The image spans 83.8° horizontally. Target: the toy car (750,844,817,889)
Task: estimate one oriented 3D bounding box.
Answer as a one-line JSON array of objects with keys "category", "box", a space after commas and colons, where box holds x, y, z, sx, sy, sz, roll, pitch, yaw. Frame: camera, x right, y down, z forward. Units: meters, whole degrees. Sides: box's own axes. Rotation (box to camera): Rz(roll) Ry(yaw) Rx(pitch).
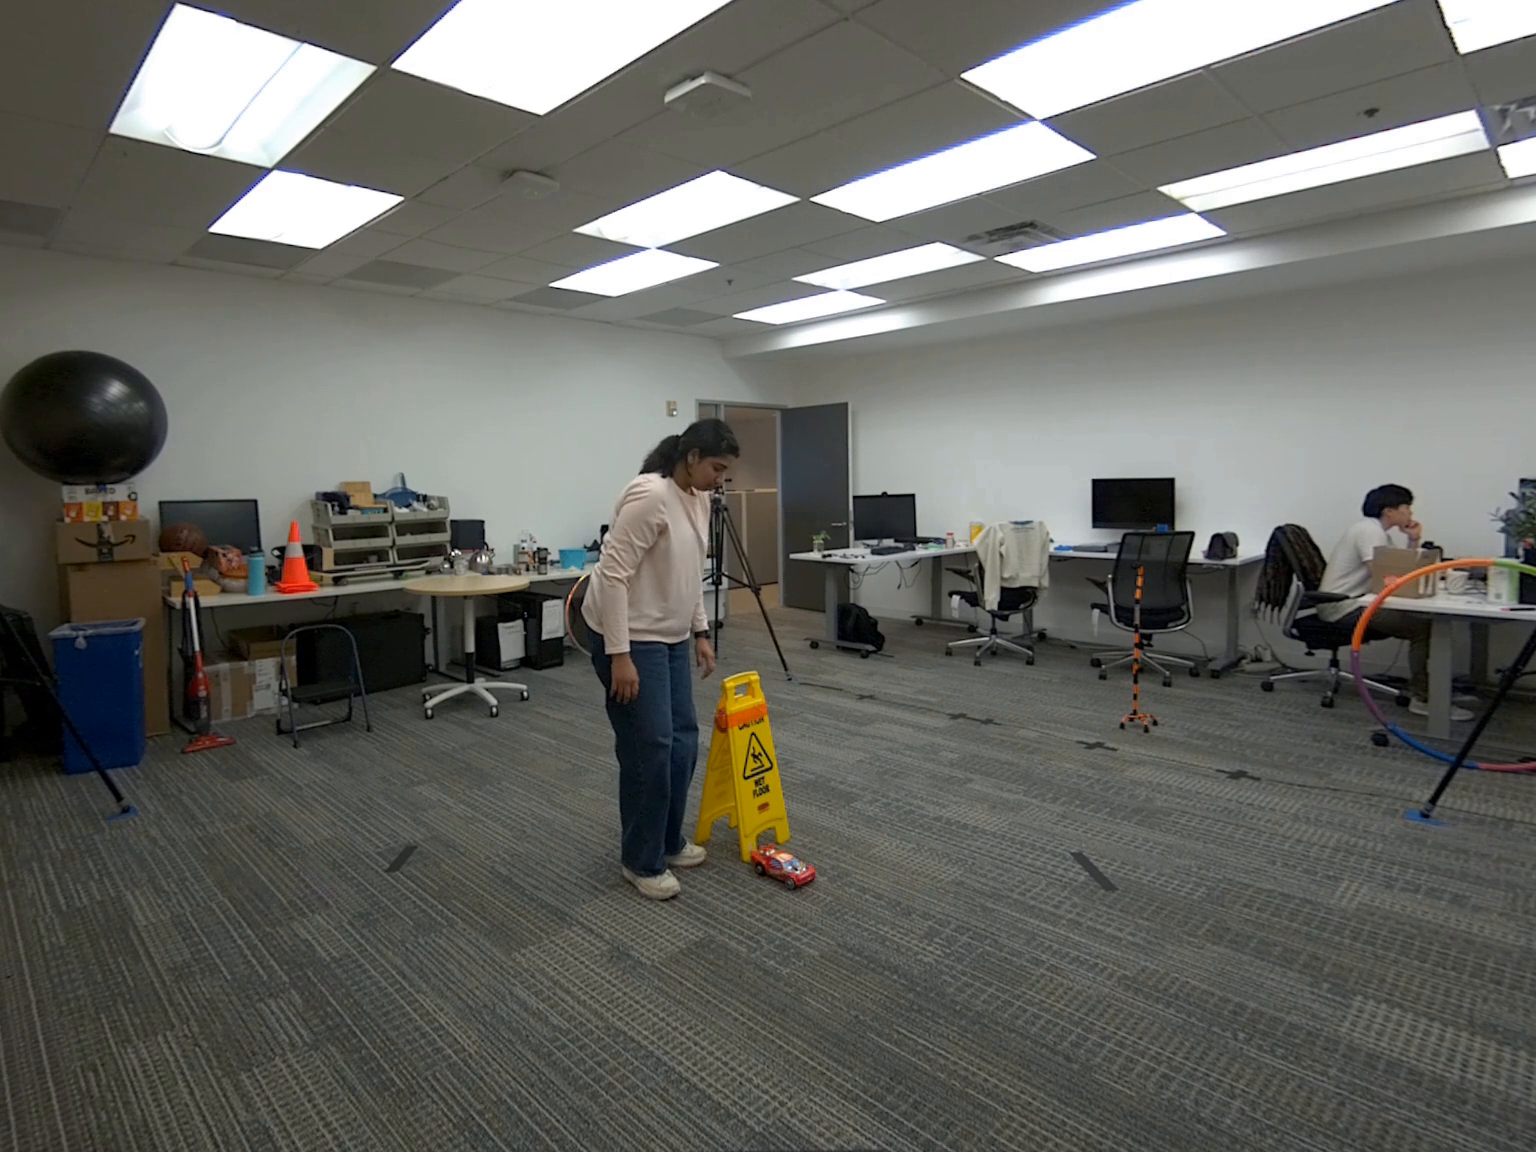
[{"category": "toy car", "box": [0.040, 1.019, 3.003, 0.127, 0.082, 0.264, -6, 18, -42]}]
